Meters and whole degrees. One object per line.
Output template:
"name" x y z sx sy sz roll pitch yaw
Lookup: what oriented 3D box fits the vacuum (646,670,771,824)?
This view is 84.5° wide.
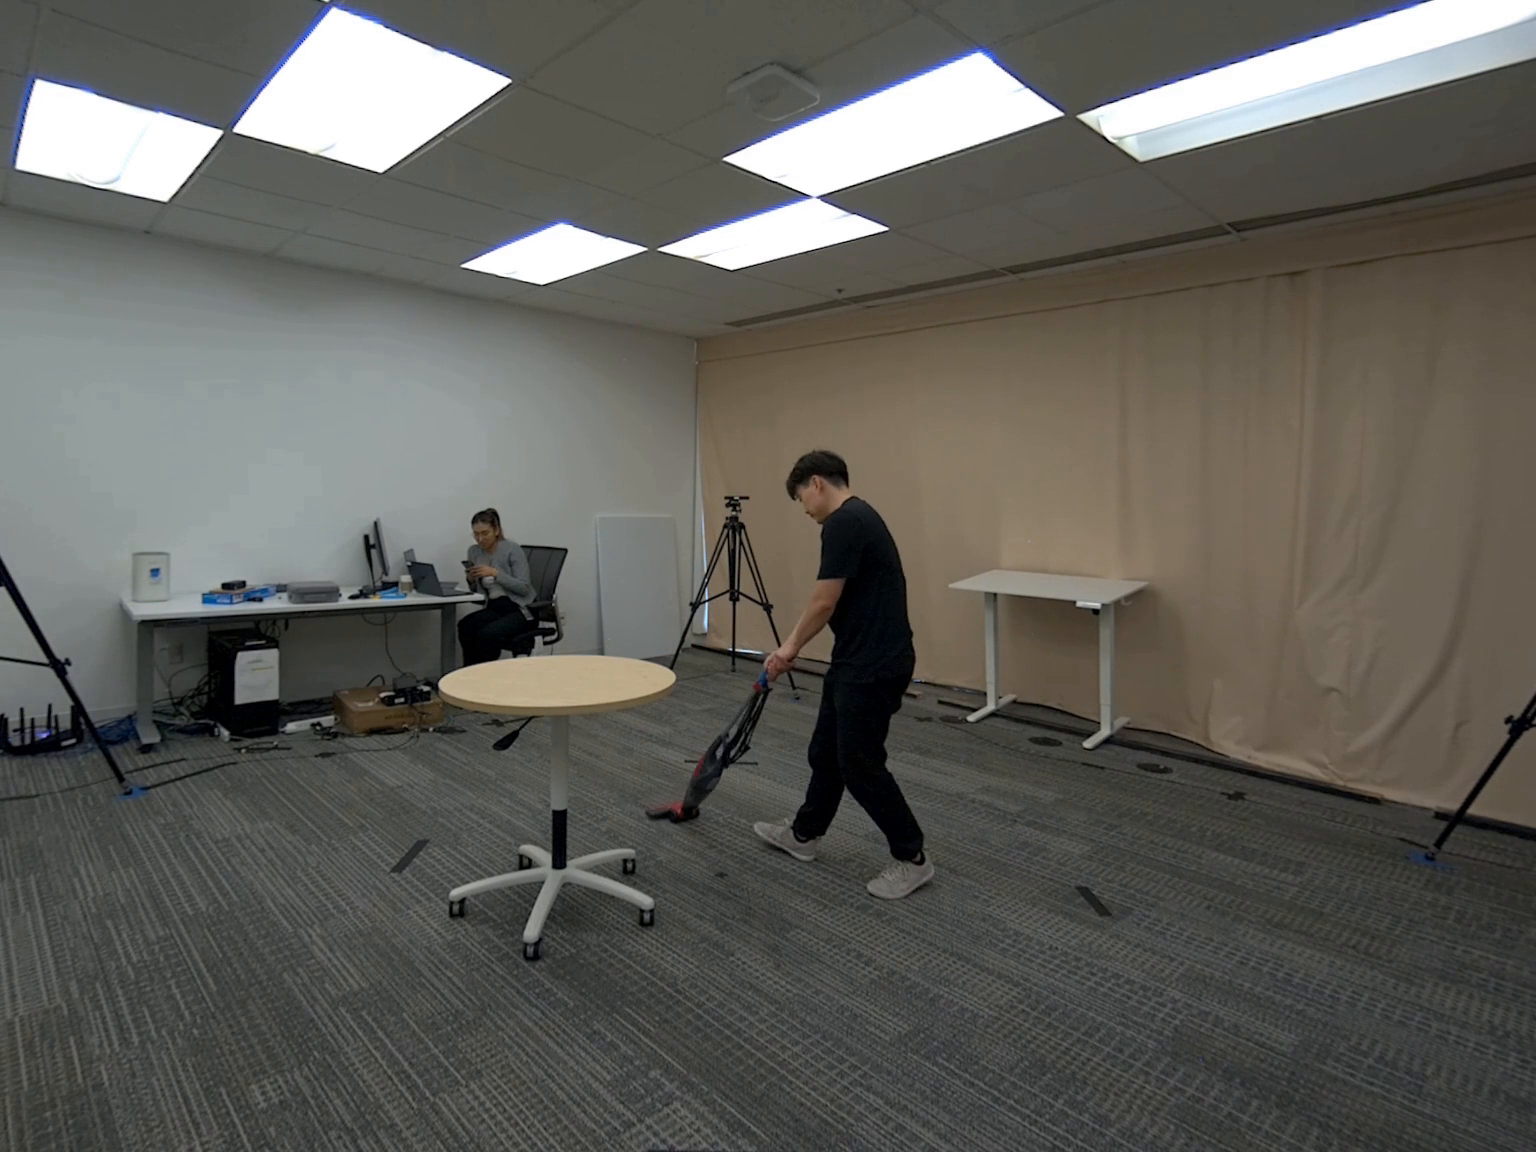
"vacuum" -0.179 0.671 3.391 0.247 1.042 0.148 -7 49 -43
